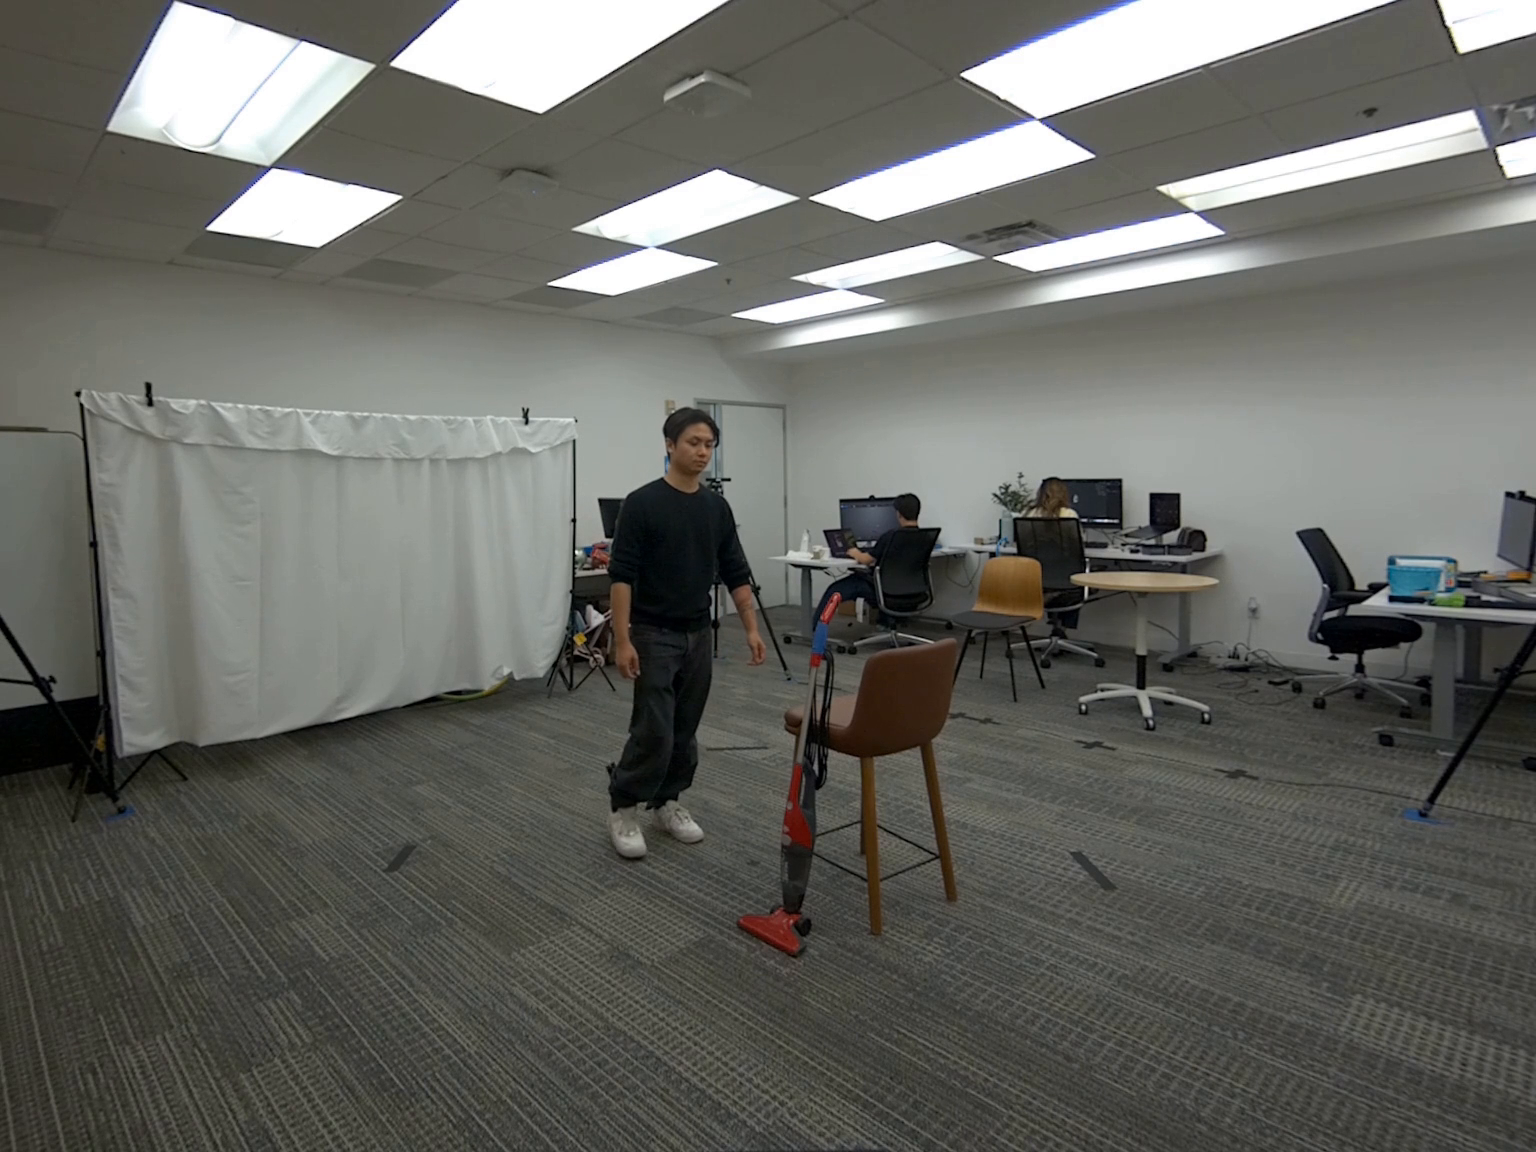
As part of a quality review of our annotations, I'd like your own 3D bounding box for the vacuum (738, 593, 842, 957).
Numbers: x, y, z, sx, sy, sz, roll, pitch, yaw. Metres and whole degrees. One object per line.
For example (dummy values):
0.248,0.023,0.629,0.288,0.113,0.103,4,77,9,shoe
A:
0.137,0.582,2.674,0.139,1.054,0.260,15,-8,-43,vacuum
